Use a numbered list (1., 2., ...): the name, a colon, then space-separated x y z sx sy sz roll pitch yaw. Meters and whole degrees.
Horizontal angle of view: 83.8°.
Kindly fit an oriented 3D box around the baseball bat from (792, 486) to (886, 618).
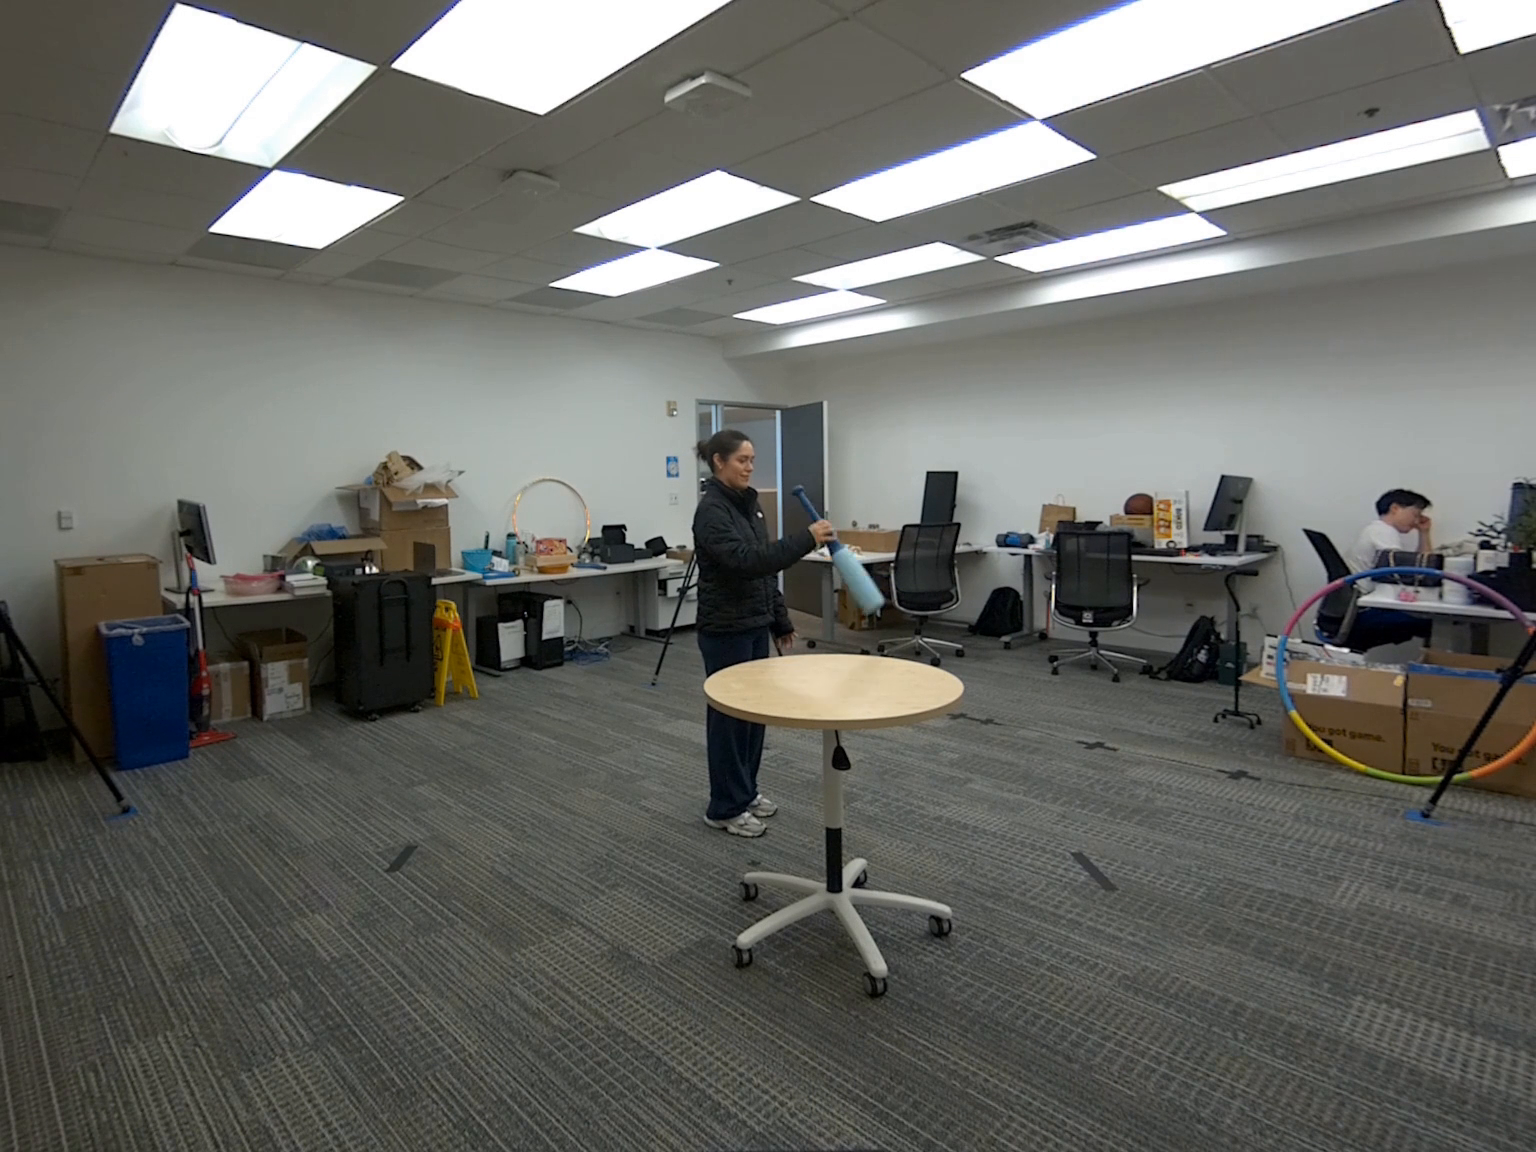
1. baseball bat: 0.226 -0.103 3.151 0.089 0.554 0.087 -29 -15 -10
